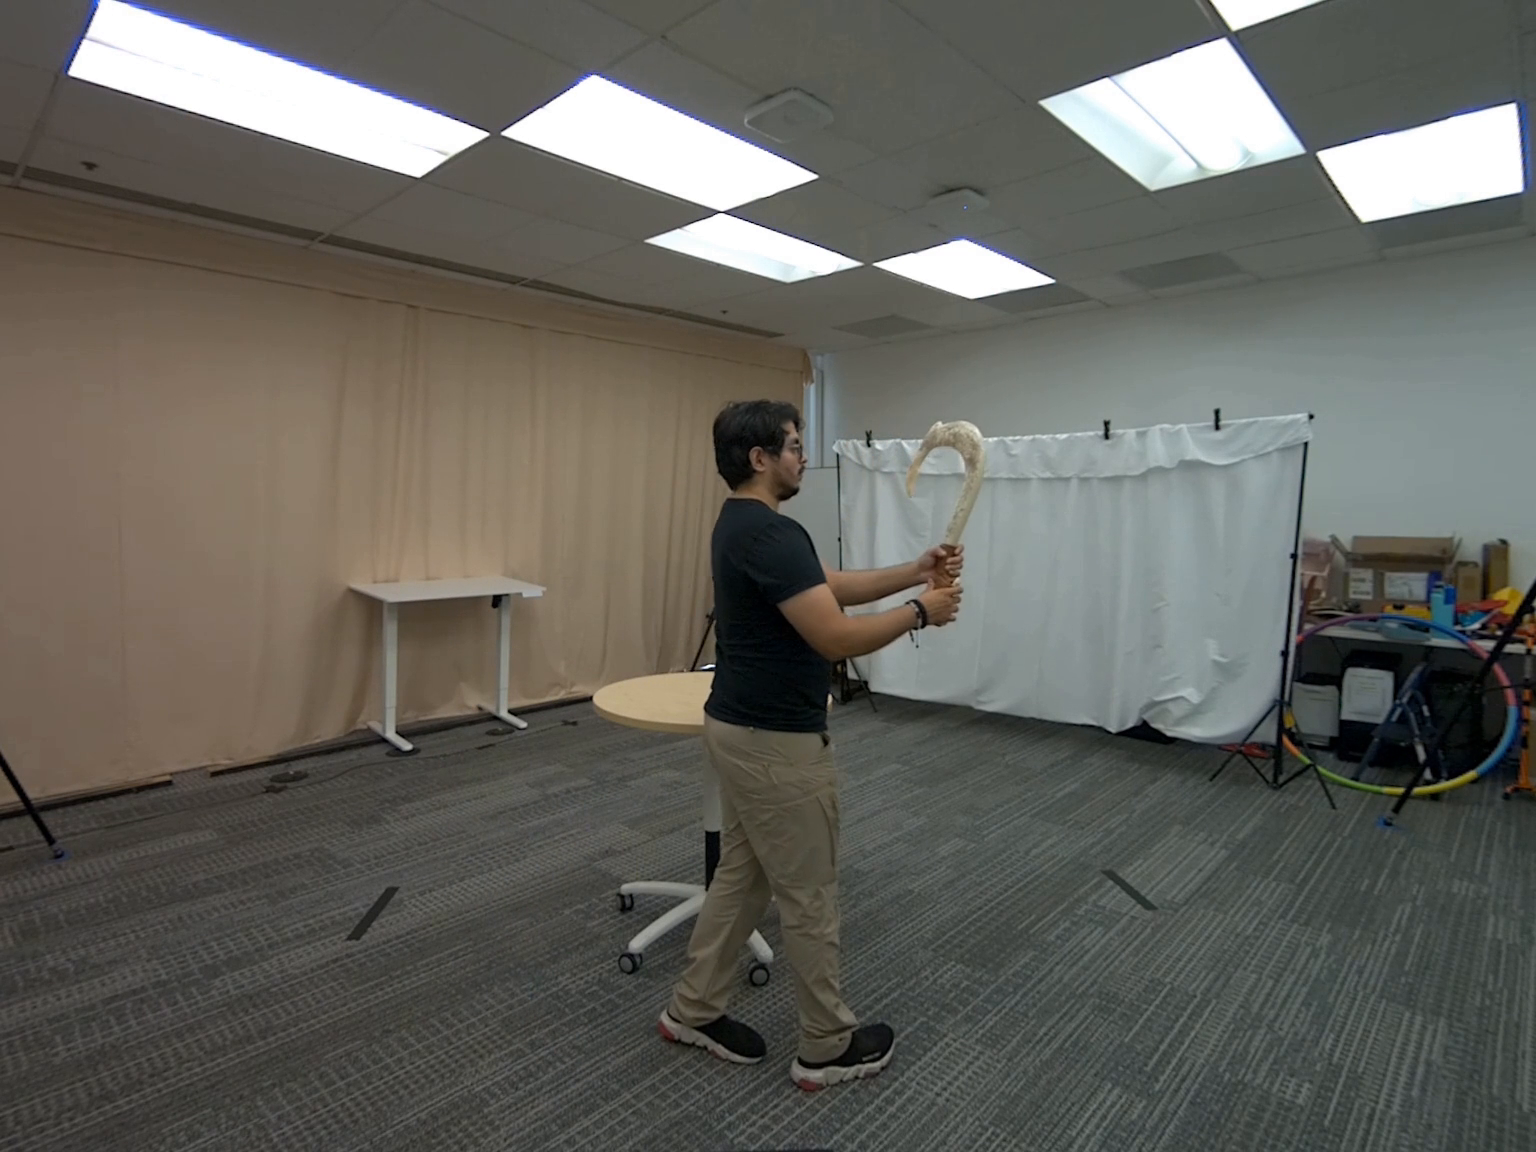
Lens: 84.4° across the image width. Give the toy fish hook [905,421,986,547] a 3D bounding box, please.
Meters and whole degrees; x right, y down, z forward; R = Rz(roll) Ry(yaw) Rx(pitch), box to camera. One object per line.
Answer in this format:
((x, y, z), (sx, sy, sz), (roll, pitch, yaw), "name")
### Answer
((0.432, -0.136, 2.079), (0.047, 0.507, 0.232), (13, -3, -35), "toy fish hook")
